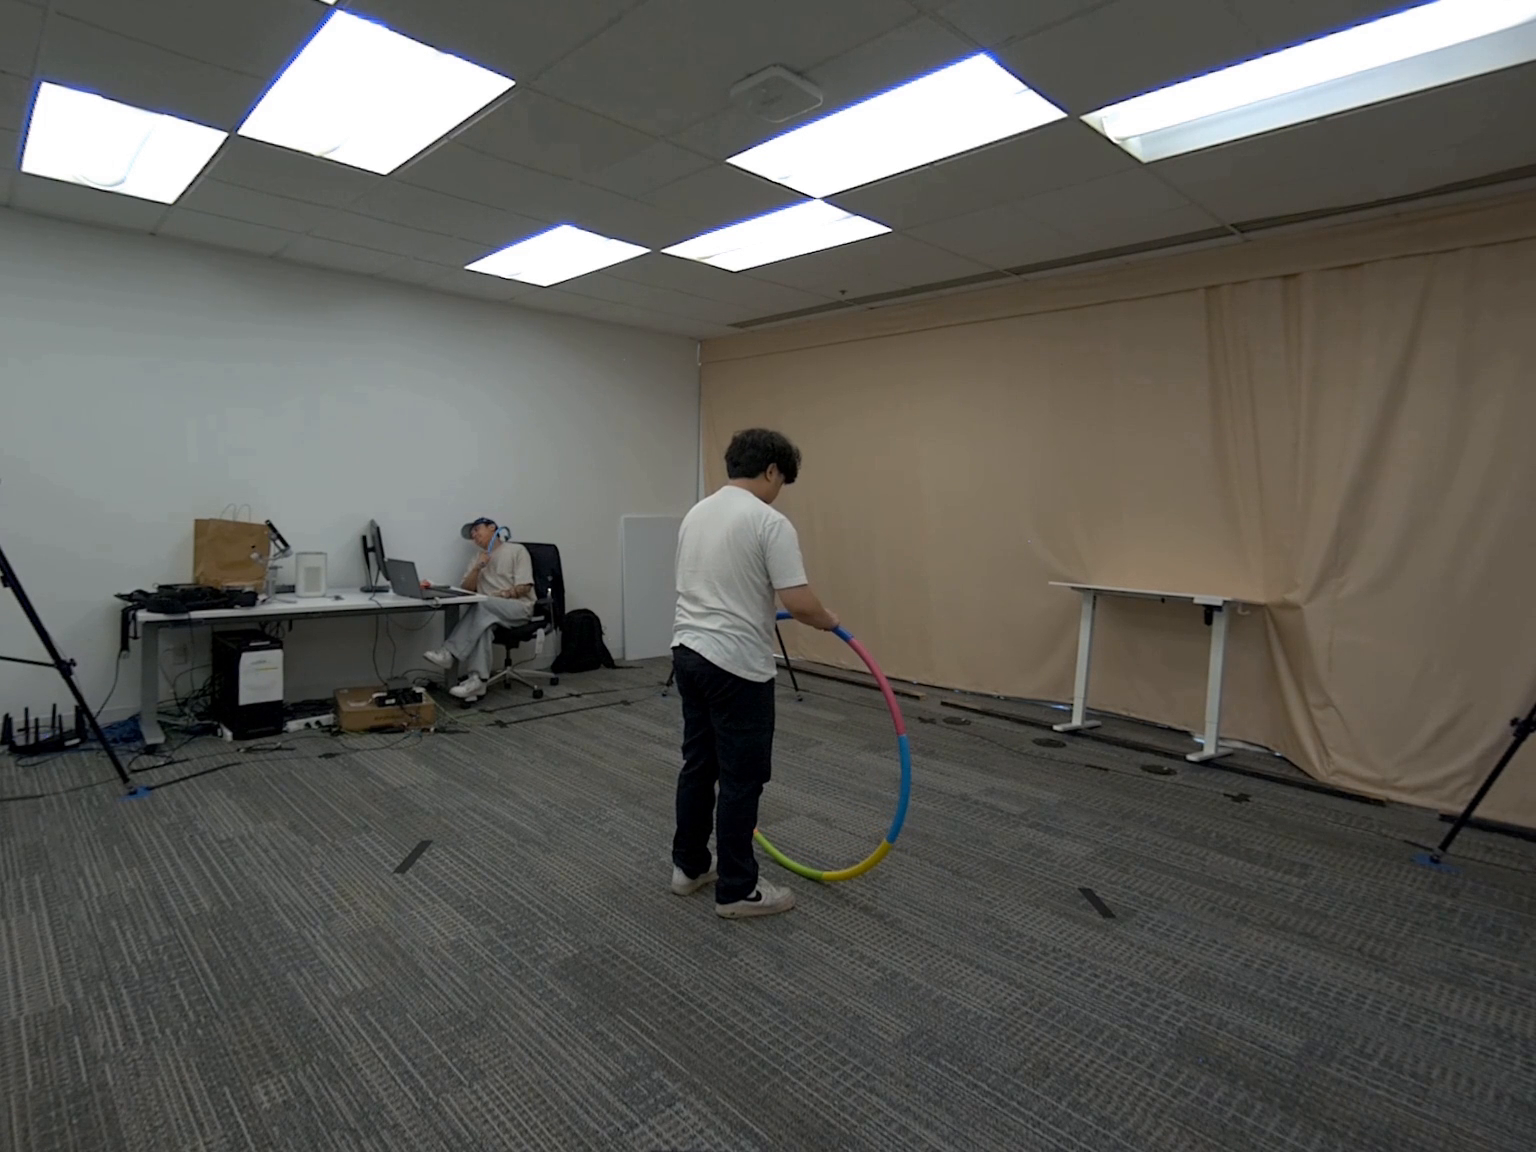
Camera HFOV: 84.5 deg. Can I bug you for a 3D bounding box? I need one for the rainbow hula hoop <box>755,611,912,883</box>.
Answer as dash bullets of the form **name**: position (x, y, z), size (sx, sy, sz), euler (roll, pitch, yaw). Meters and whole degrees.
- **rainbow hula hoop**: position (0.111, 0.621, 3.117), size (0.050, 0.982, 1.011), euler (-3, 6, -42)
